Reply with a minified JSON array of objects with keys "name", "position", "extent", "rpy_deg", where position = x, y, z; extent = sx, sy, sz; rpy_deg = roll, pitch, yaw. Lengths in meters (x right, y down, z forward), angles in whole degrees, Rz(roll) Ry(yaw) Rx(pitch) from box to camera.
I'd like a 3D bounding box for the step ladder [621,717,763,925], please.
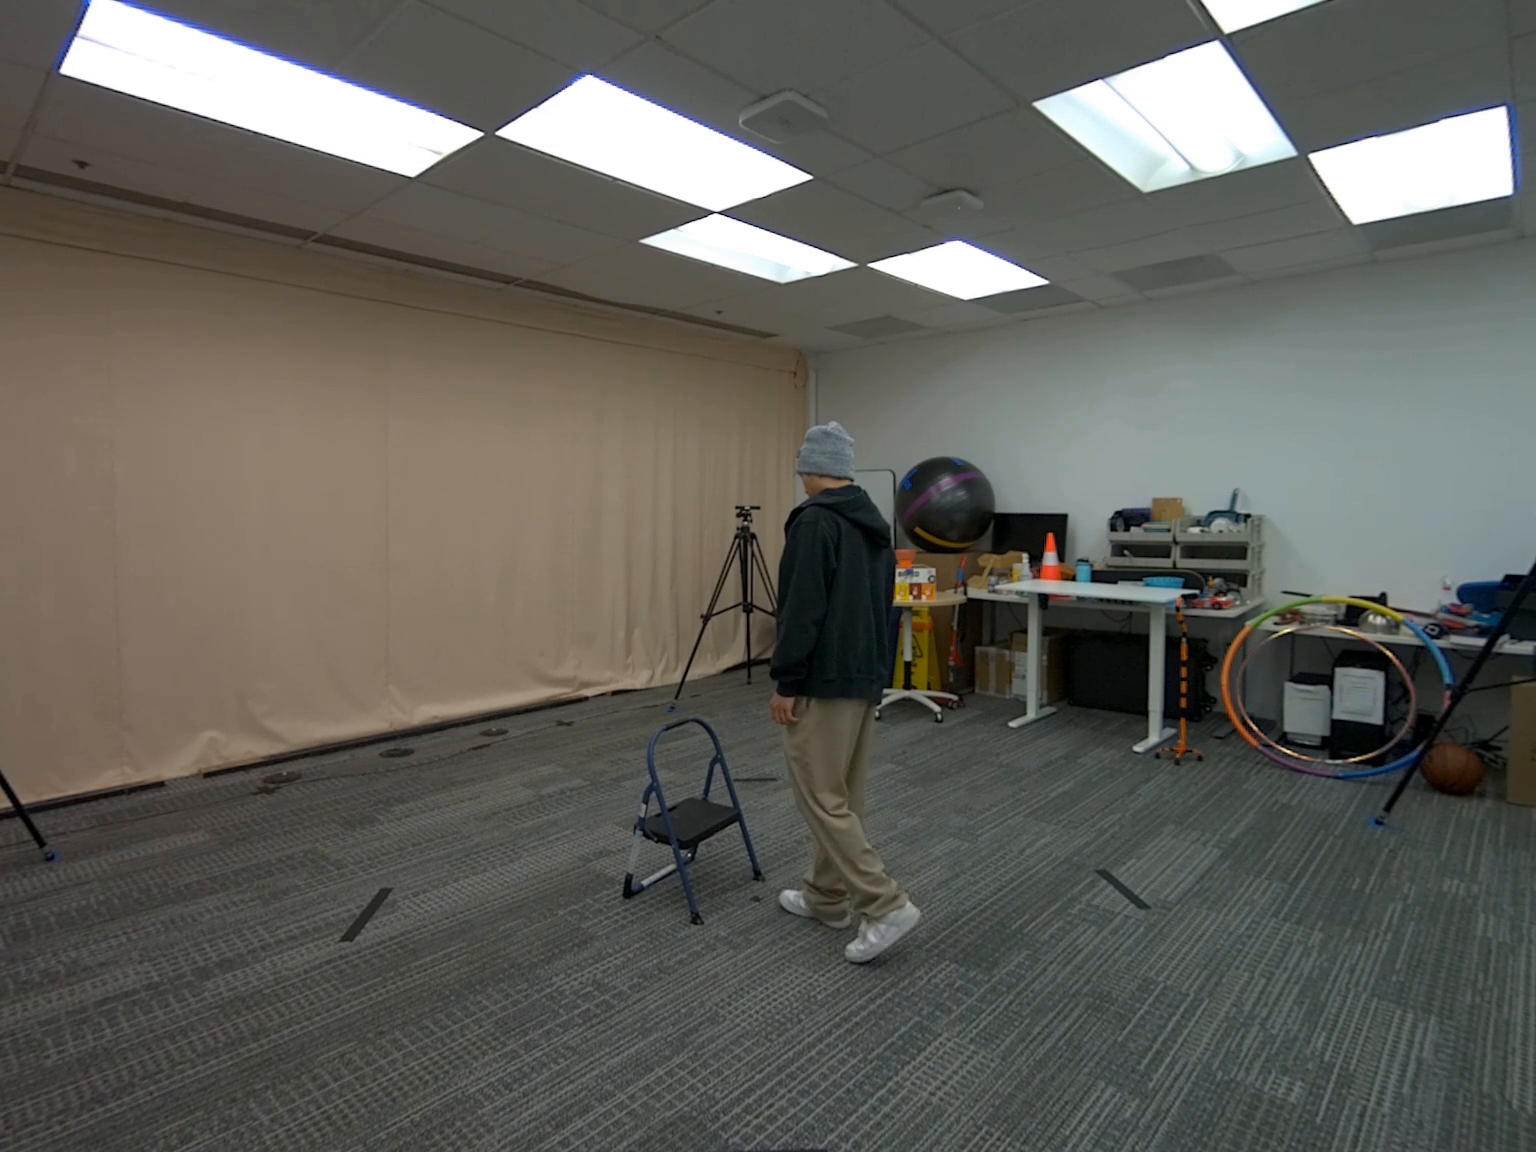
[{"name":"step ladder","position":[-0.267,0.837,3.054],"extent":[0.360,0.605,0.418],"rpy_deg":[2,4,33]}]
